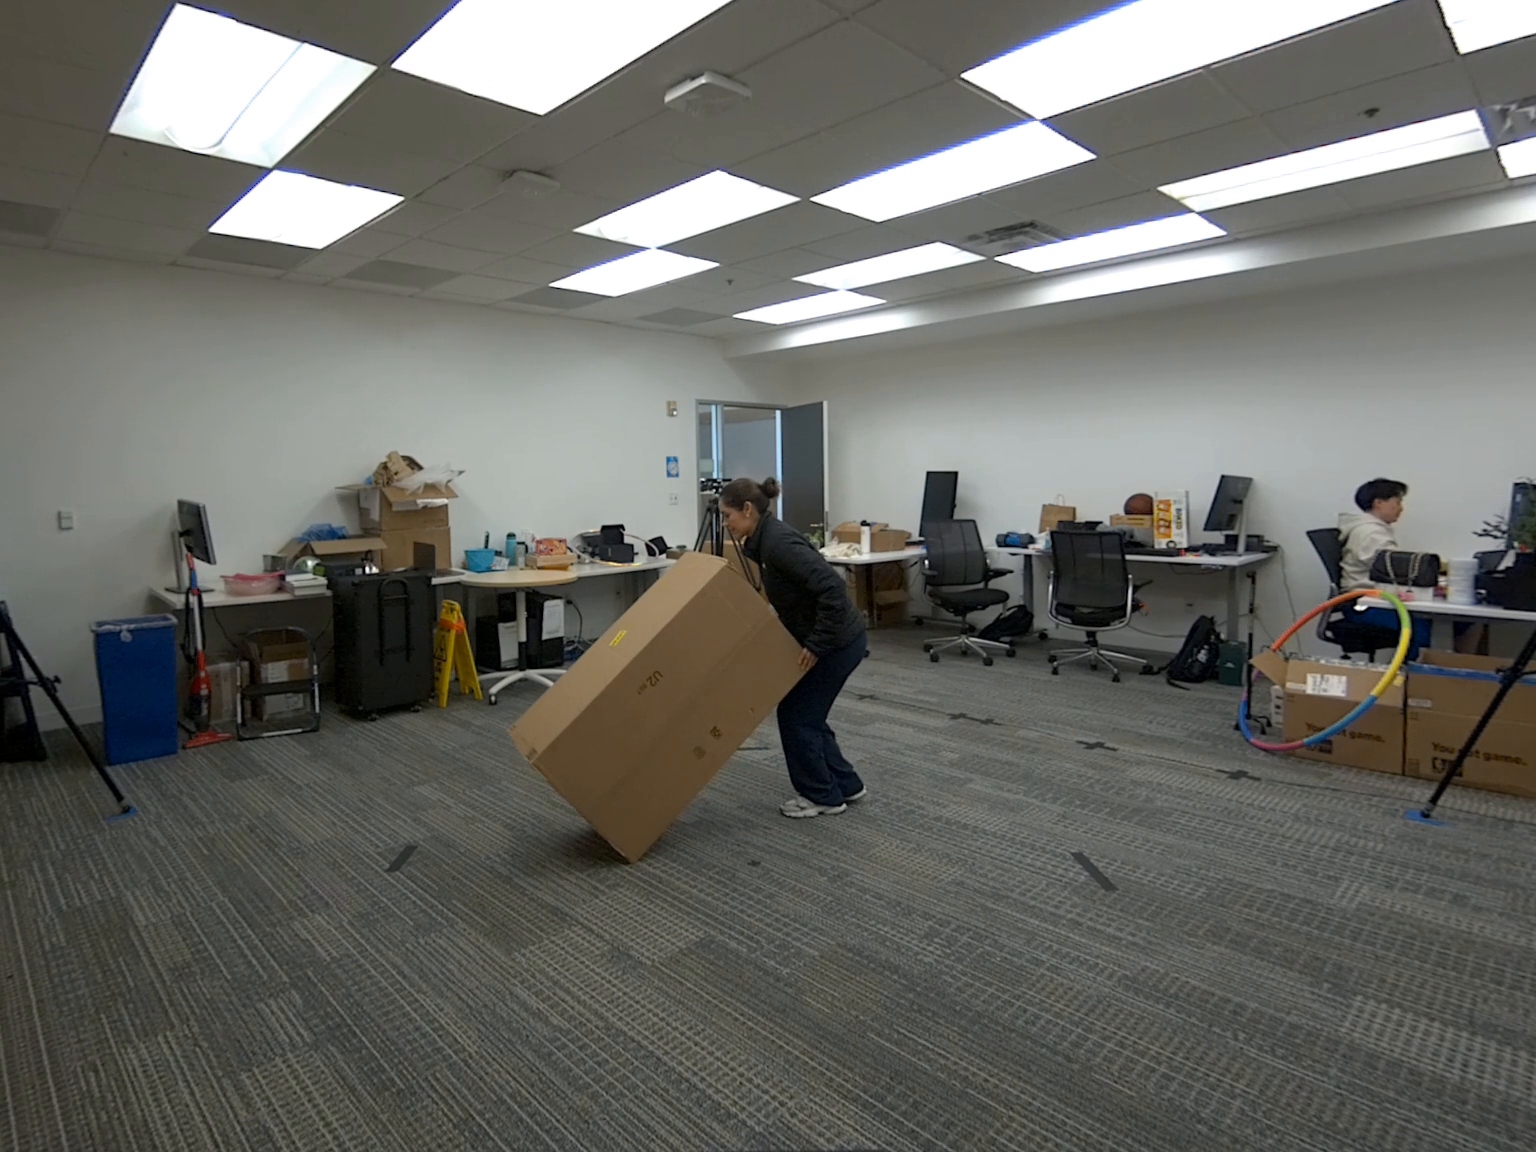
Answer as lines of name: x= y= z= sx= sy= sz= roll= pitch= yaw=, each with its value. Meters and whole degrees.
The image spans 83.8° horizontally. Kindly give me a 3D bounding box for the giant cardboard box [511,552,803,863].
giant cardboard box: x=-0.416 y=0.470 z=3.354 sx=1.026 sy=0.570 sz=0.458 roll=-47 pitch=21 yaw=-16
